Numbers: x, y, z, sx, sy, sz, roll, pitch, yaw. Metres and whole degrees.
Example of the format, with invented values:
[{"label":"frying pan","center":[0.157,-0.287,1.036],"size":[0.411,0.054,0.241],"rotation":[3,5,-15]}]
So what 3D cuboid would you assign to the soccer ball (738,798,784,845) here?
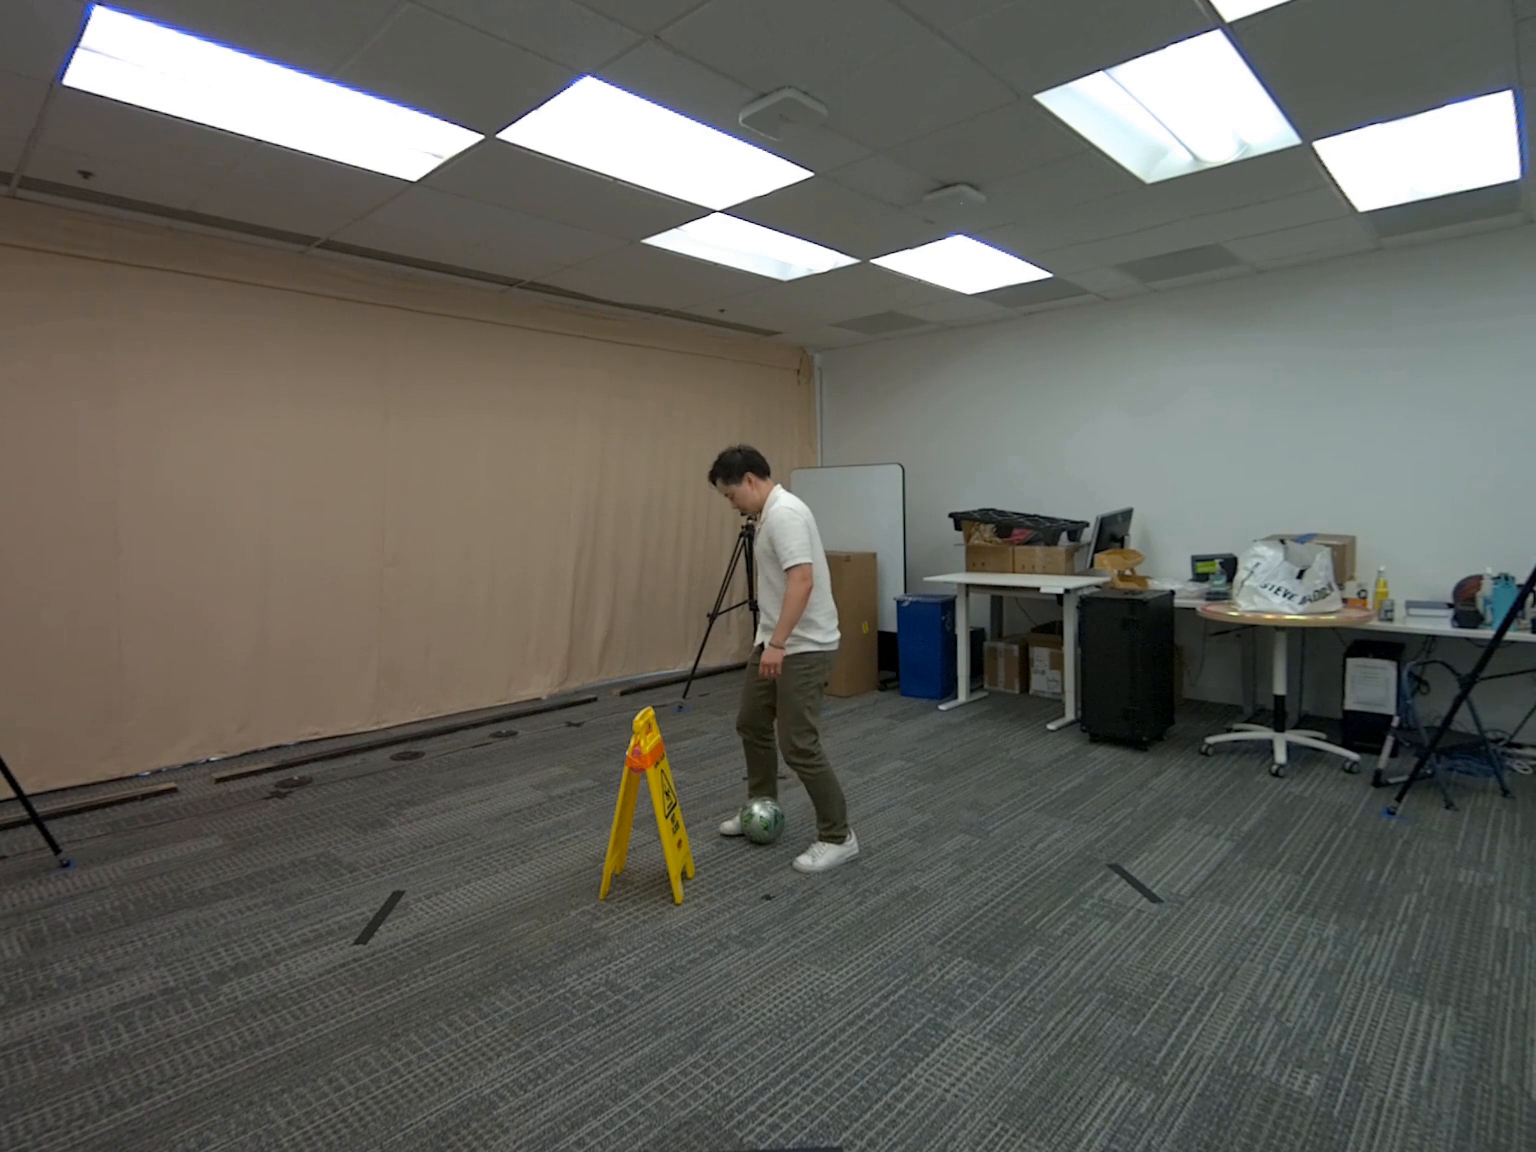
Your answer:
[{"label":"soccer ball","center":[-0.024,1.001,3.468],"size":[0.187,0.187,0.188],"rotation":[-1,4,-2]}]
